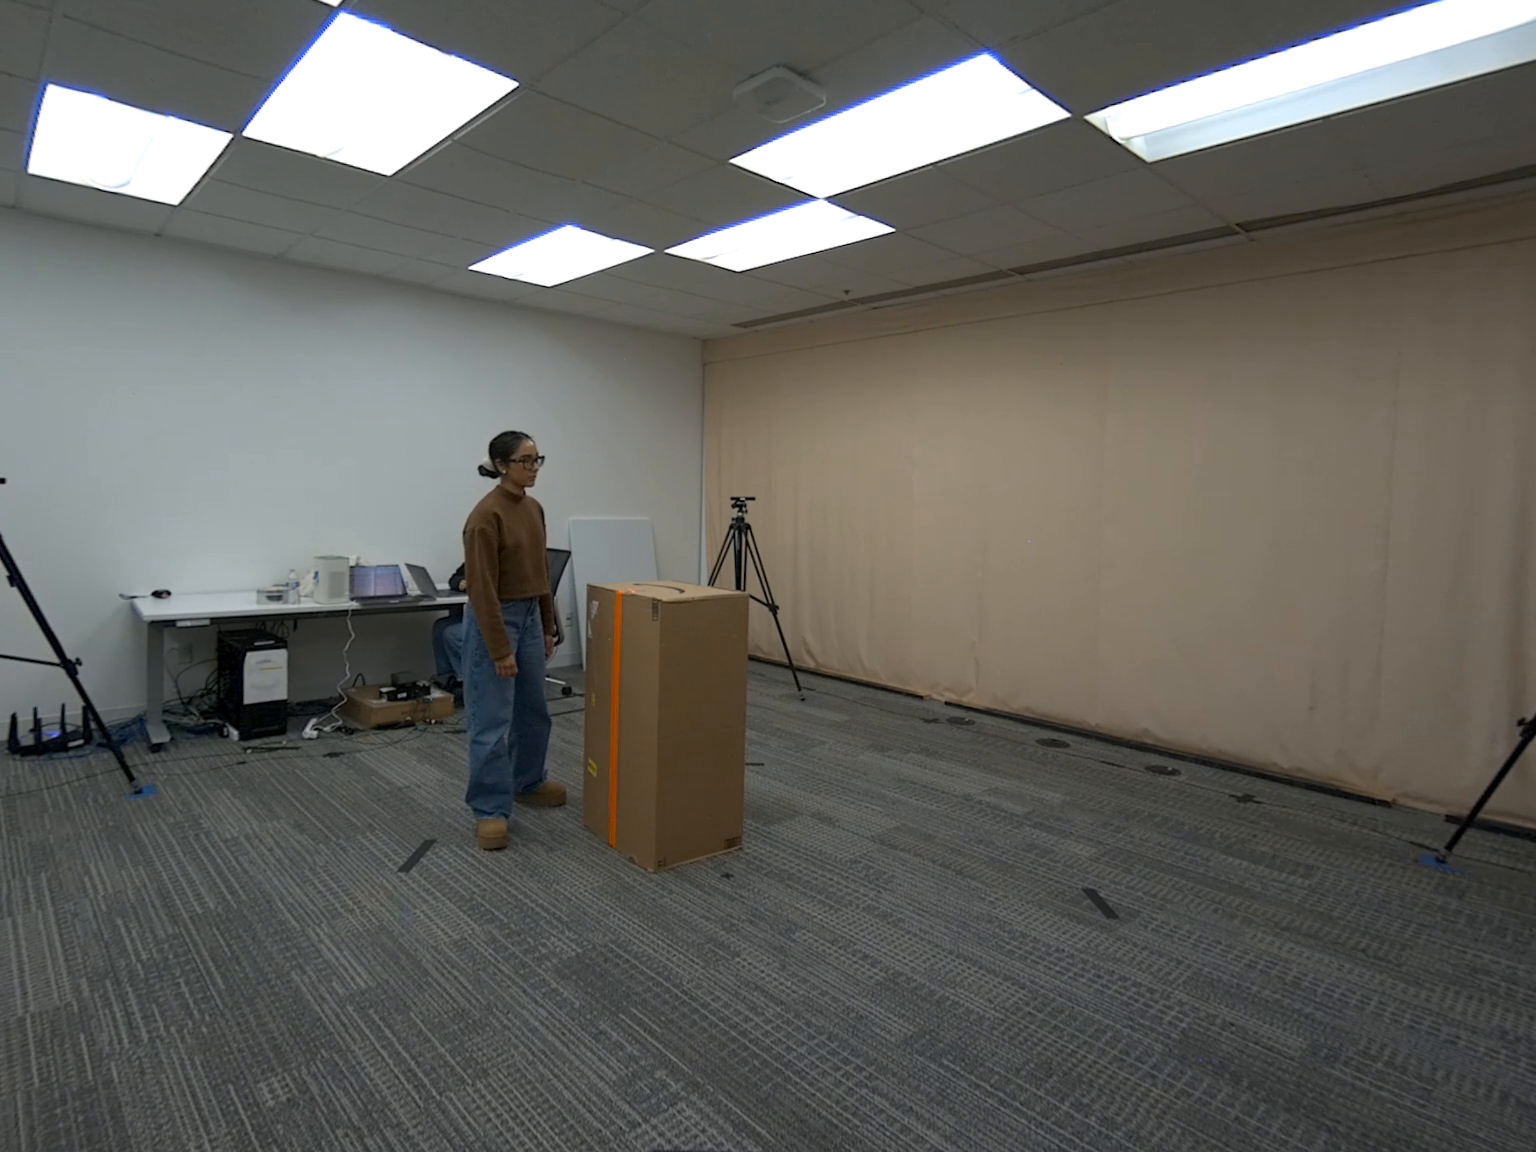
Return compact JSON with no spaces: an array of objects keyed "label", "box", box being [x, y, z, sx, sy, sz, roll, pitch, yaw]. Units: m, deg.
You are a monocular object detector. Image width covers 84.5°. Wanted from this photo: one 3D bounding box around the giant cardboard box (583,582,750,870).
[{"label":"giant cardboard box","box":[-0.438,0.564,3.429,0.416,1.023,0.592,-1,5,-39]}]
